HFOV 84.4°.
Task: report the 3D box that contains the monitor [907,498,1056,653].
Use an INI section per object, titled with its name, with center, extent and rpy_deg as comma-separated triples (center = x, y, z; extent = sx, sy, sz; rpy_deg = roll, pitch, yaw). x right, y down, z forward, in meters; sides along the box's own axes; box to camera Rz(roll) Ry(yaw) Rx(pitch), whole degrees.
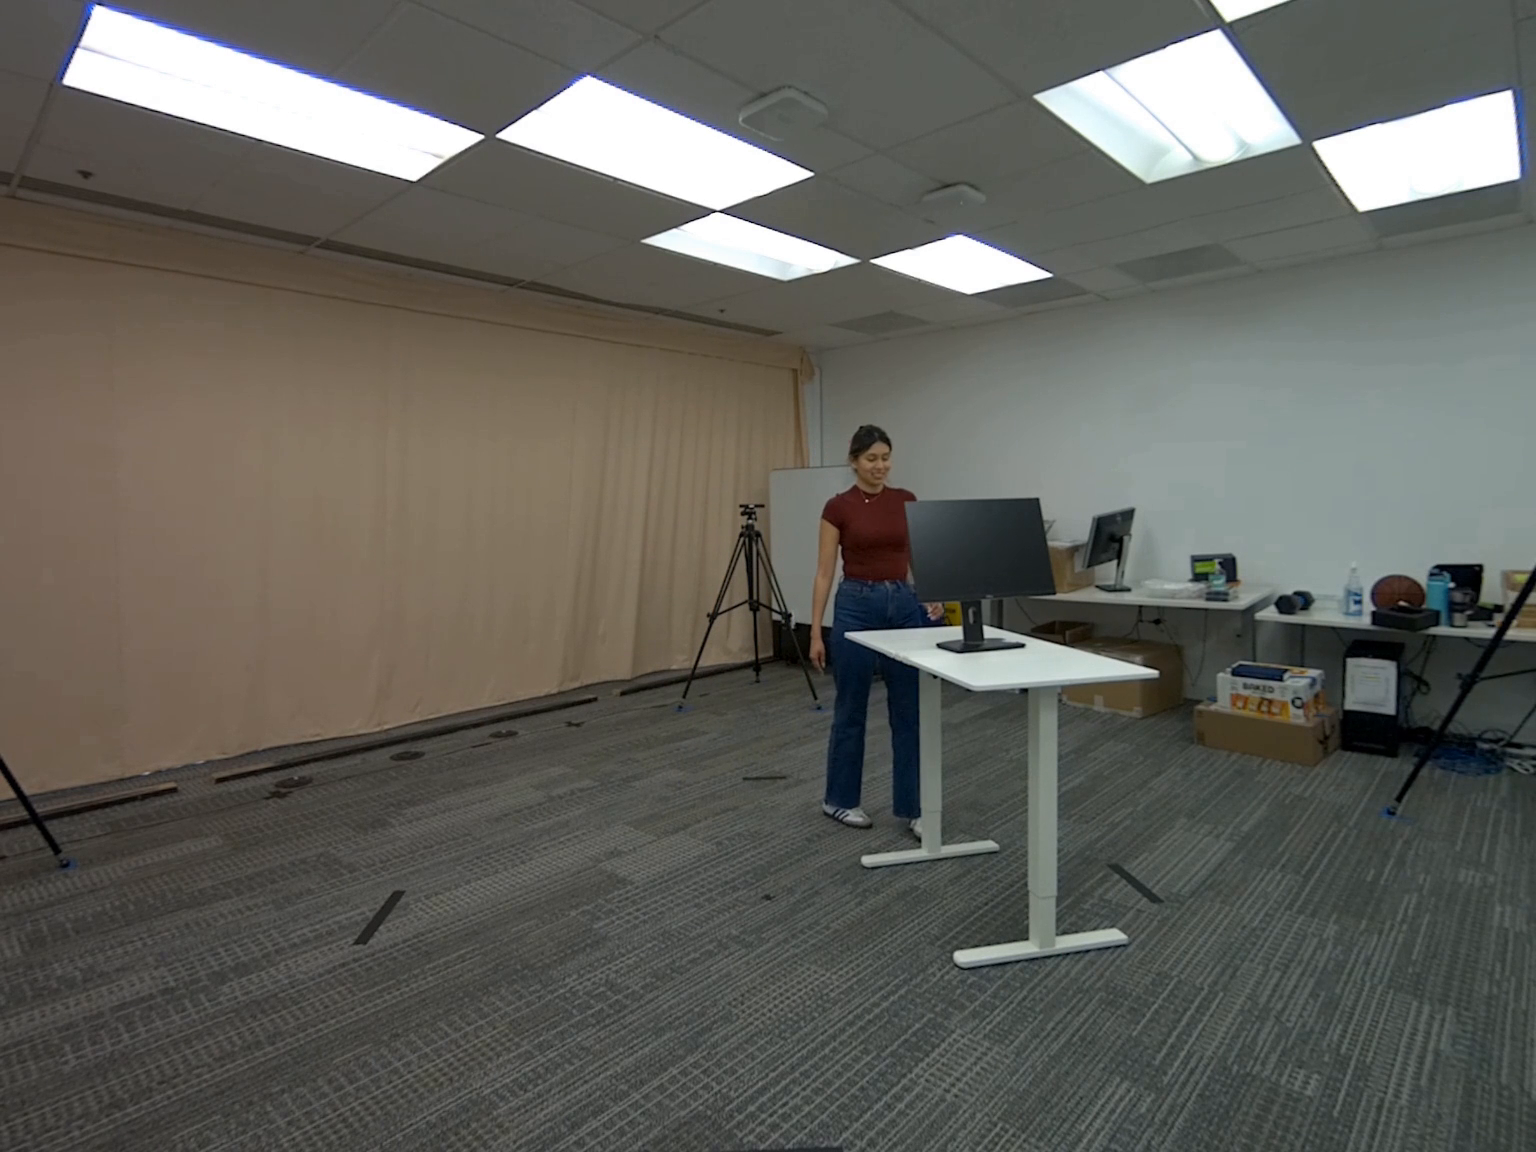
[monitor]
center = 0.729, -0.006, 2.938
extent = 0.529, 0.522, 0.191
rpy_deg = -3, 1, -18
